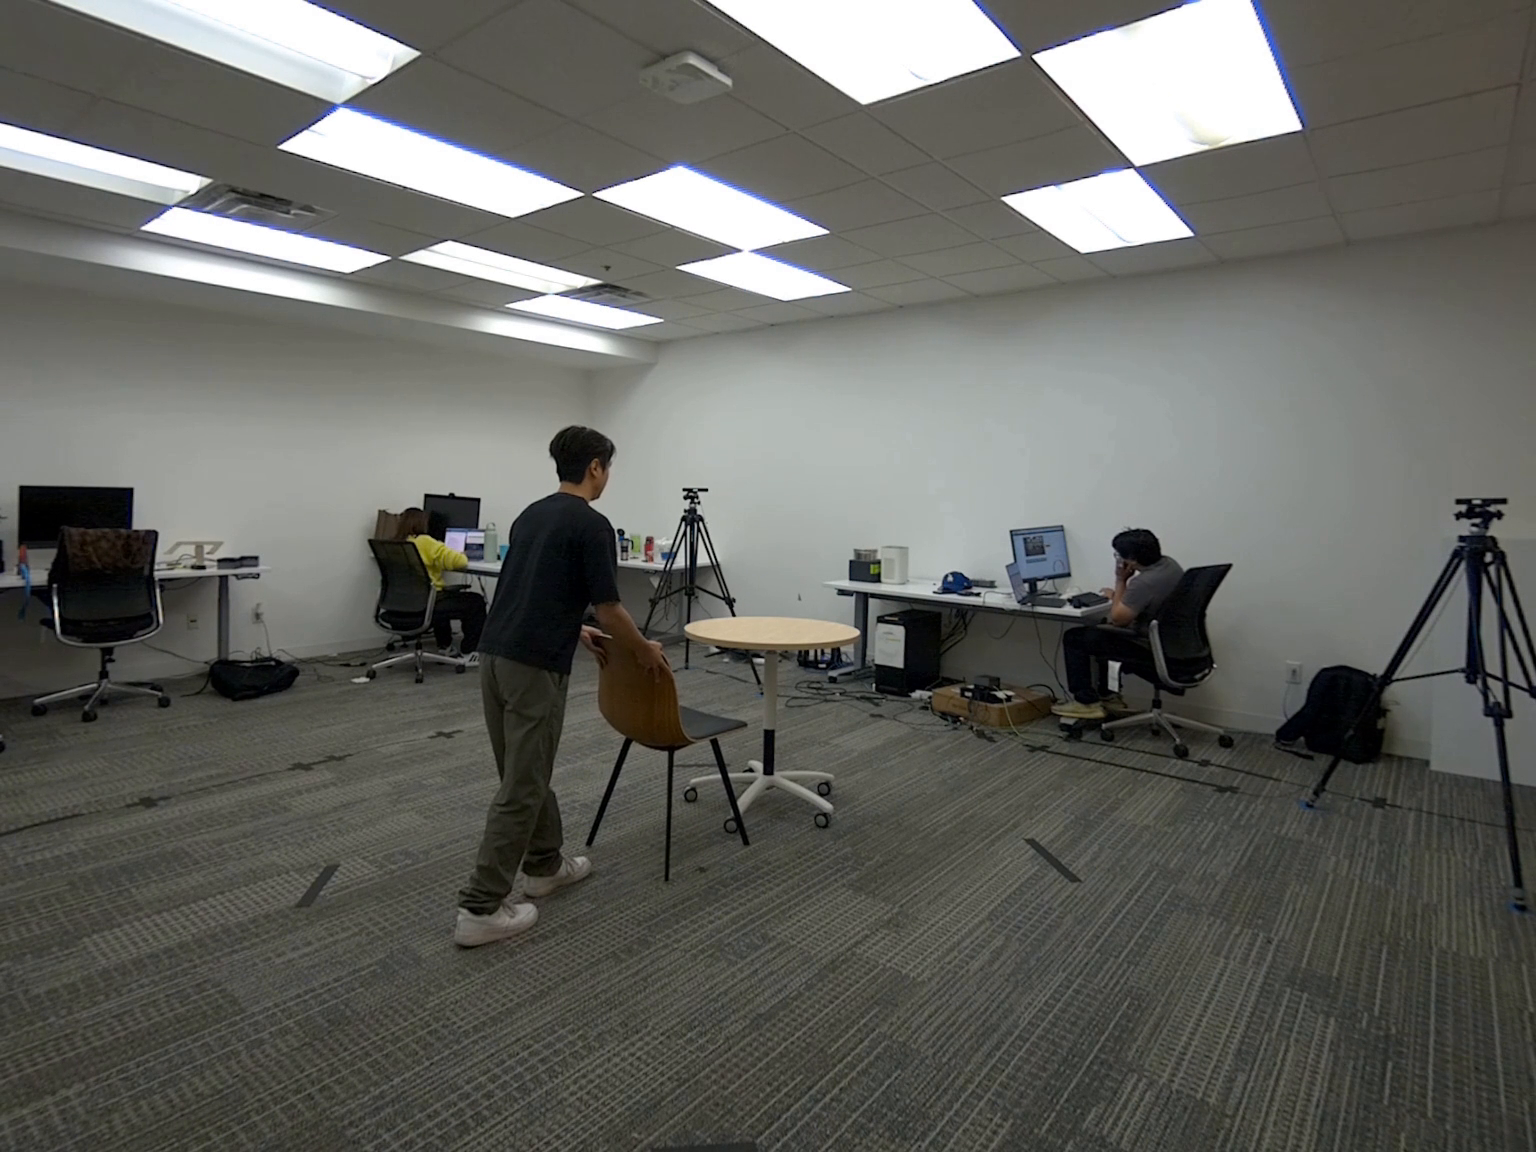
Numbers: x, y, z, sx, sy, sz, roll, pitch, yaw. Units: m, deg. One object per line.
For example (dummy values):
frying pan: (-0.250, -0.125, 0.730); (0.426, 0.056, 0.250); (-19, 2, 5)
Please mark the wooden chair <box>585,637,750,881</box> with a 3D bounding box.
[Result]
wooden chair: (-0.386, 0.620, 3.288); (0.494, 0.872, 0.509); (3, 8, 41)
